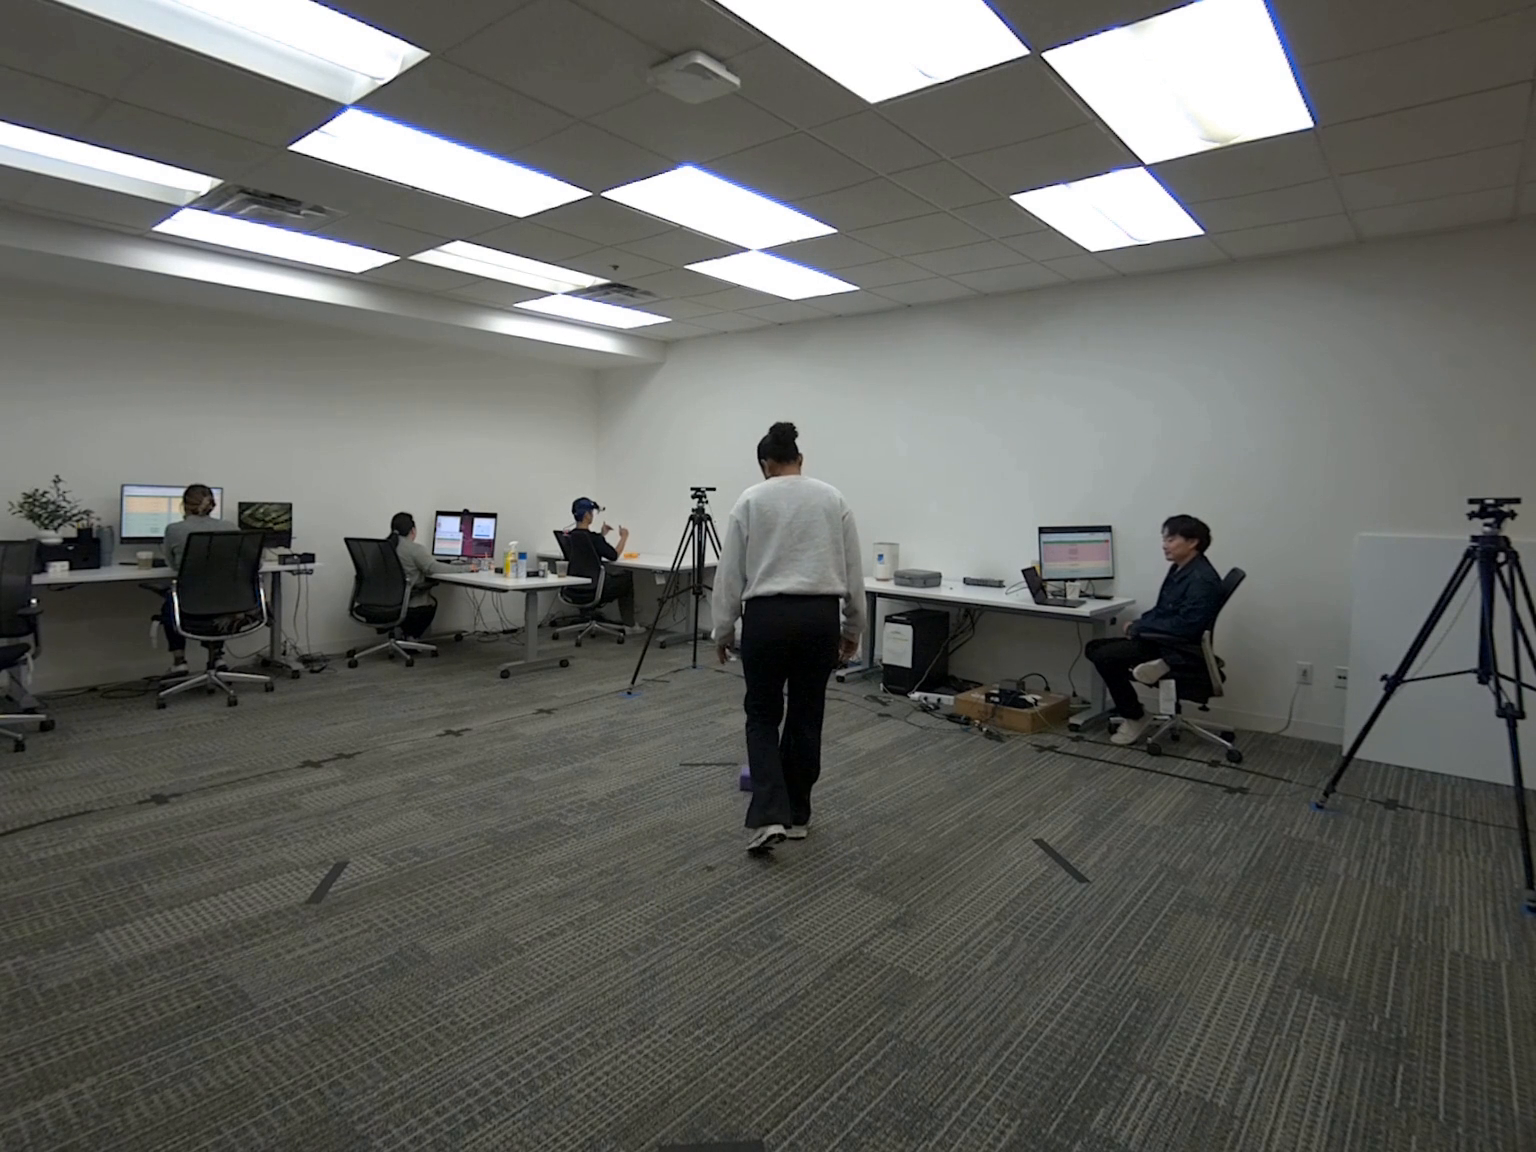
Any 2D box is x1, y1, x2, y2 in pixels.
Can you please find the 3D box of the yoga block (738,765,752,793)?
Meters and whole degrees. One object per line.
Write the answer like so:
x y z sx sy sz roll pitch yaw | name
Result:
-0.022 0.941 3.980 0.231 0.076 0.149 1 6 5 | yoga block
